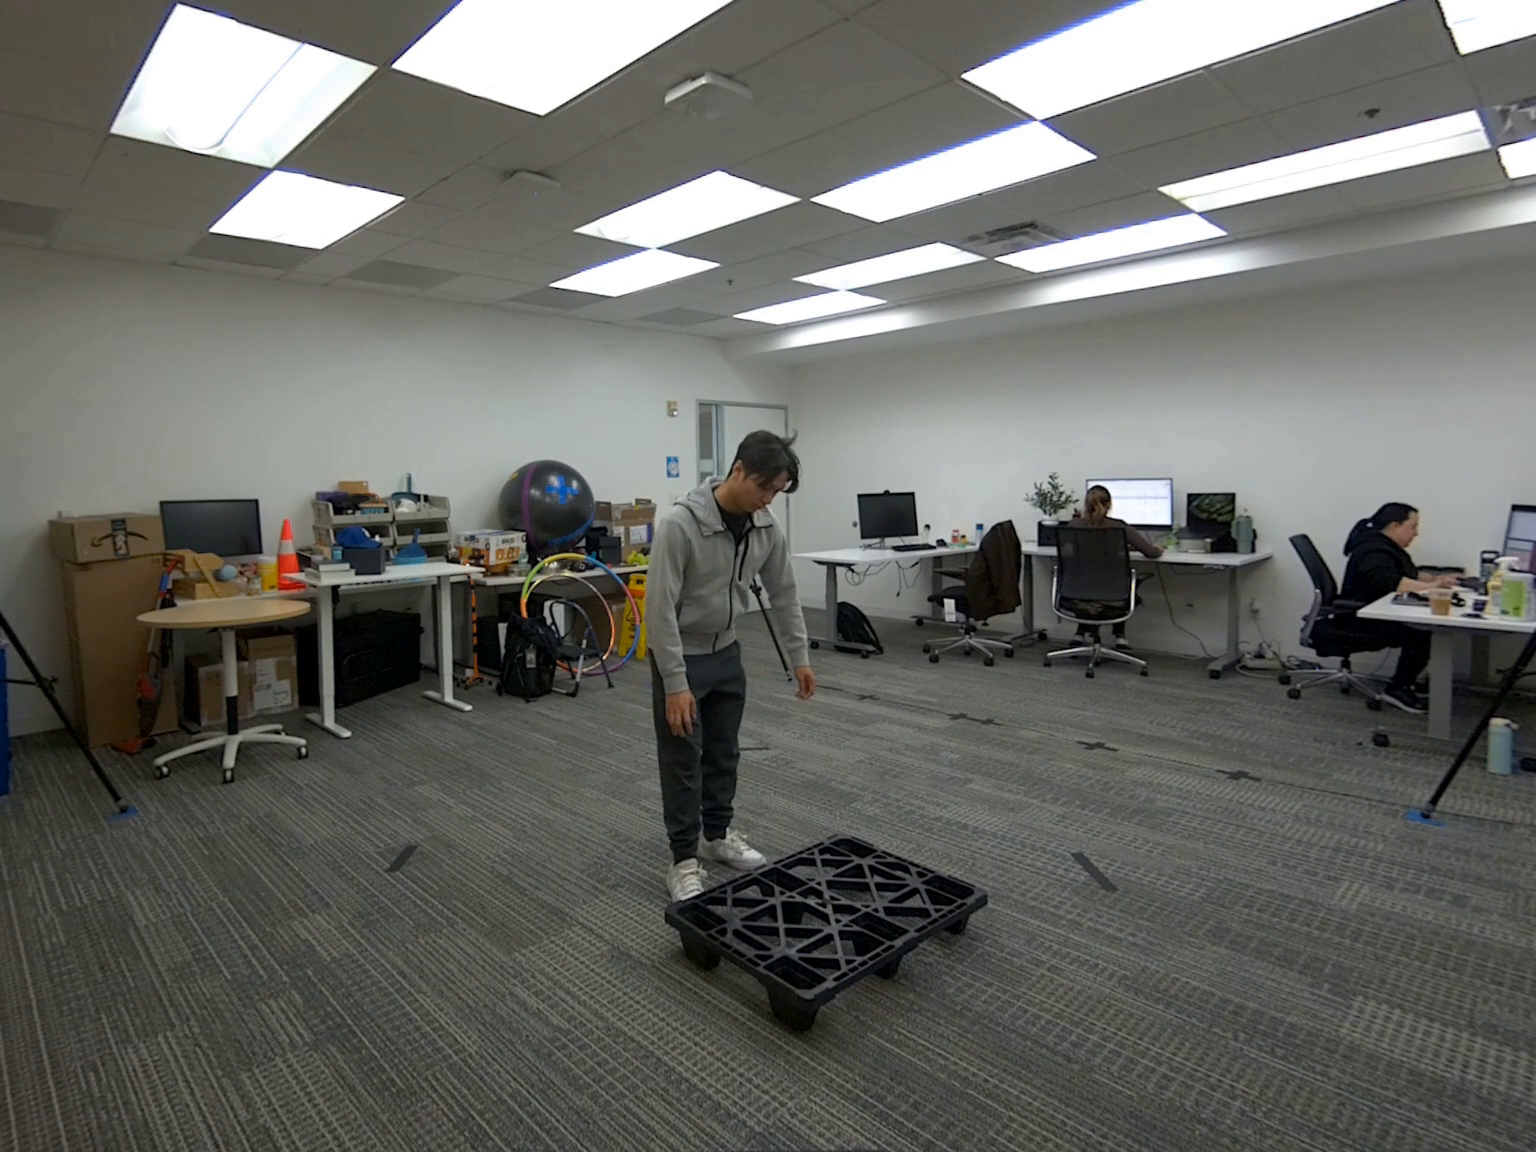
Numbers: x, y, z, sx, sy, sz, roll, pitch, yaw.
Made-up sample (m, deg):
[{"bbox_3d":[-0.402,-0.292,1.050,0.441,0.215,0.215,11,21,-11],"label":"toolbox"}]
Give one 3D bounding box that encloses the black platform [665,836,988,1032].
[{"bbox_3d":[0.178,1.037,2.560,0.785,0.143,0.624,-7,8,-42],"label":"black platform"}]
